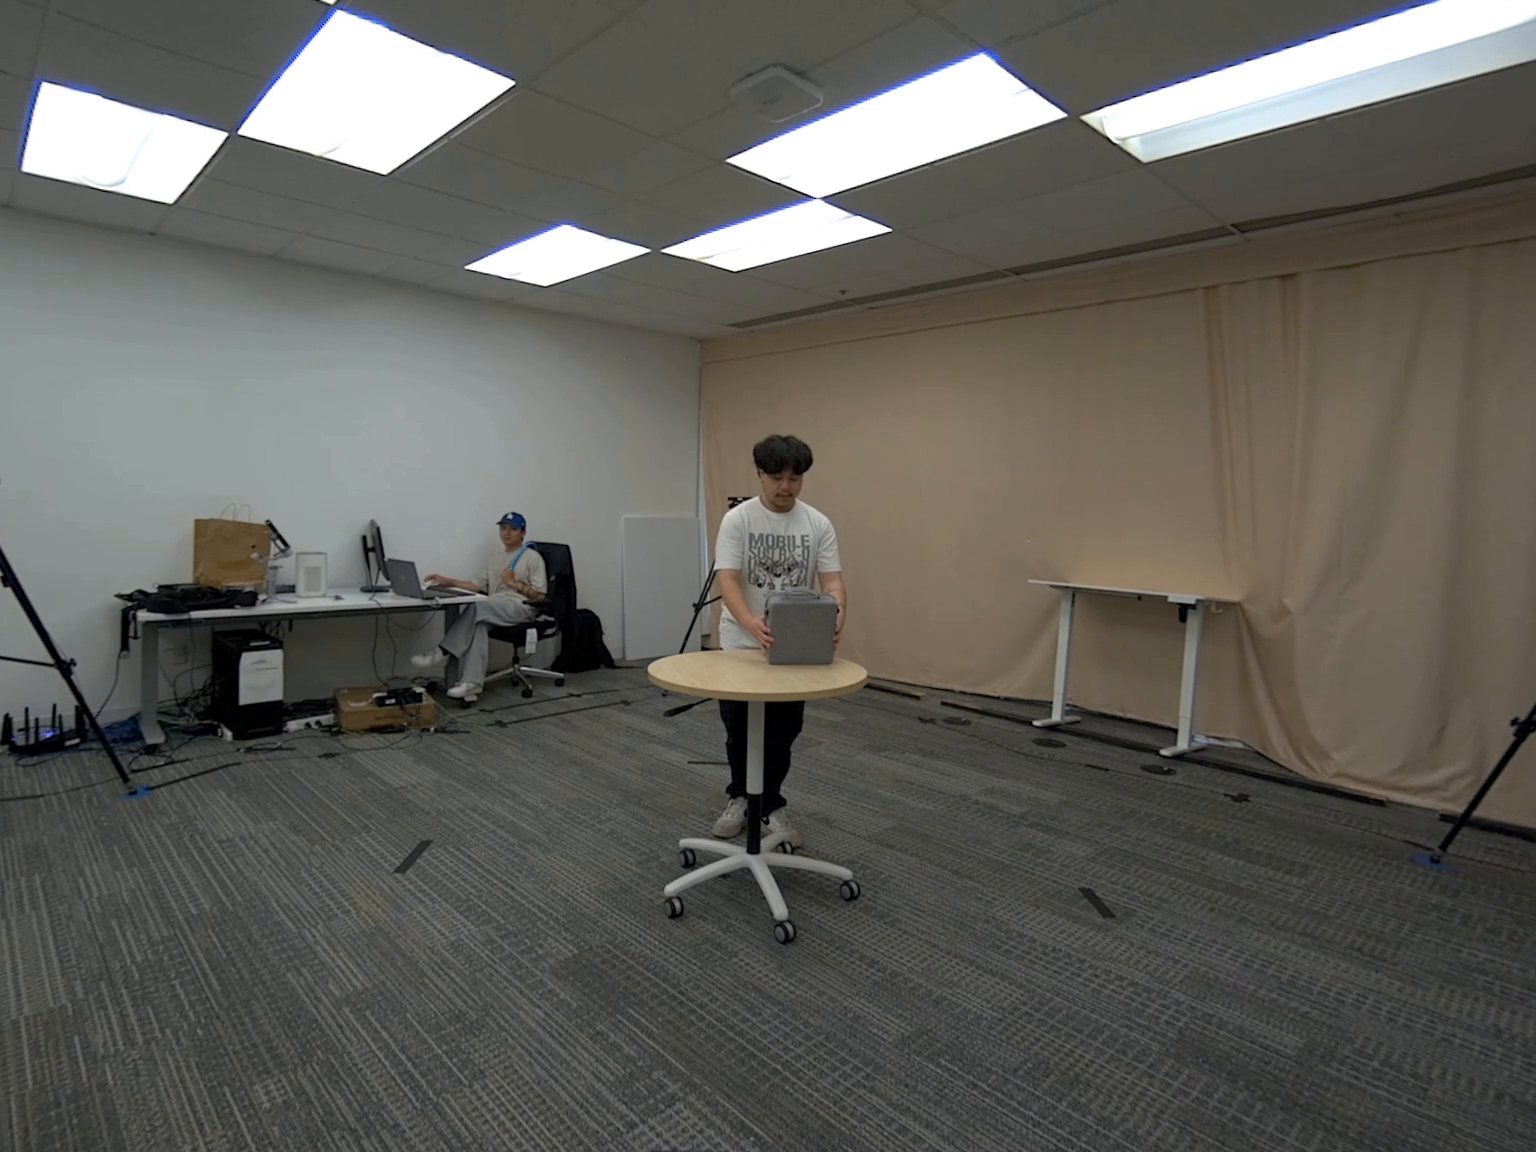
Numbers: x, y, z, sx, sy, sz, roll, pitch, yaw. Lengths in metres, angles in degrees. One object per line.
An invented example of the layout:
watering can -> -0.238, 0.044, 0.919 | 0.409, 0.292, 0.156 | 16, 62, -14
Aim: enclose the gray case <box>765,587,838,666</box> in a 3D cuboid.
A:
gray case -> 0.107, 0.186, 3.037 | 0.255, 0.258, 0.106 | 0, 16, -6
